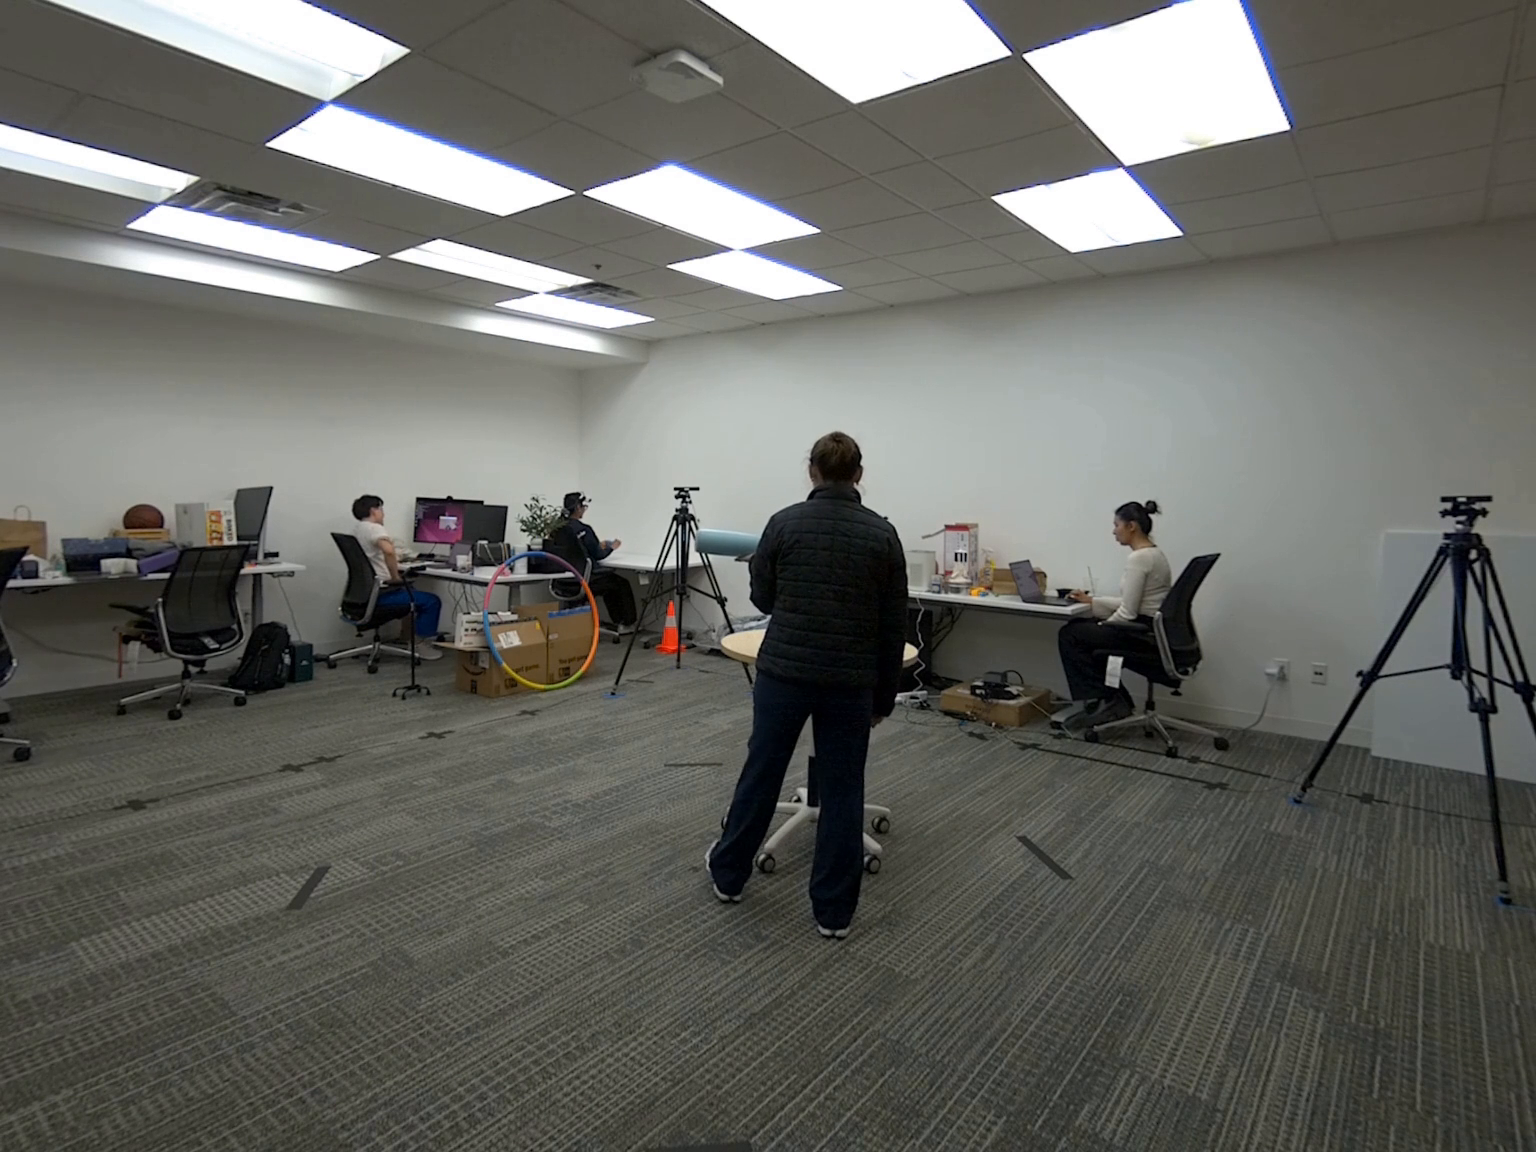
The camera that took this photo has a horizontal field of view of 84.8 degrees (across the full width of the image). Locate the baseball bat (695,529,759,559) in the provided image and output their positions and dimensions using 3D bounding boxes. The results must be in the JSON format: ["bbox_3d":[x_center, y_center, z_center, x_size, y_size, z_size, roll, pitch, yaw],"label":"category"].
[{"bbox_3d":[0.031,-0.099,3.045,0.540,0.089,0.090,6,3,-5],"label":"baseball bat"}]
